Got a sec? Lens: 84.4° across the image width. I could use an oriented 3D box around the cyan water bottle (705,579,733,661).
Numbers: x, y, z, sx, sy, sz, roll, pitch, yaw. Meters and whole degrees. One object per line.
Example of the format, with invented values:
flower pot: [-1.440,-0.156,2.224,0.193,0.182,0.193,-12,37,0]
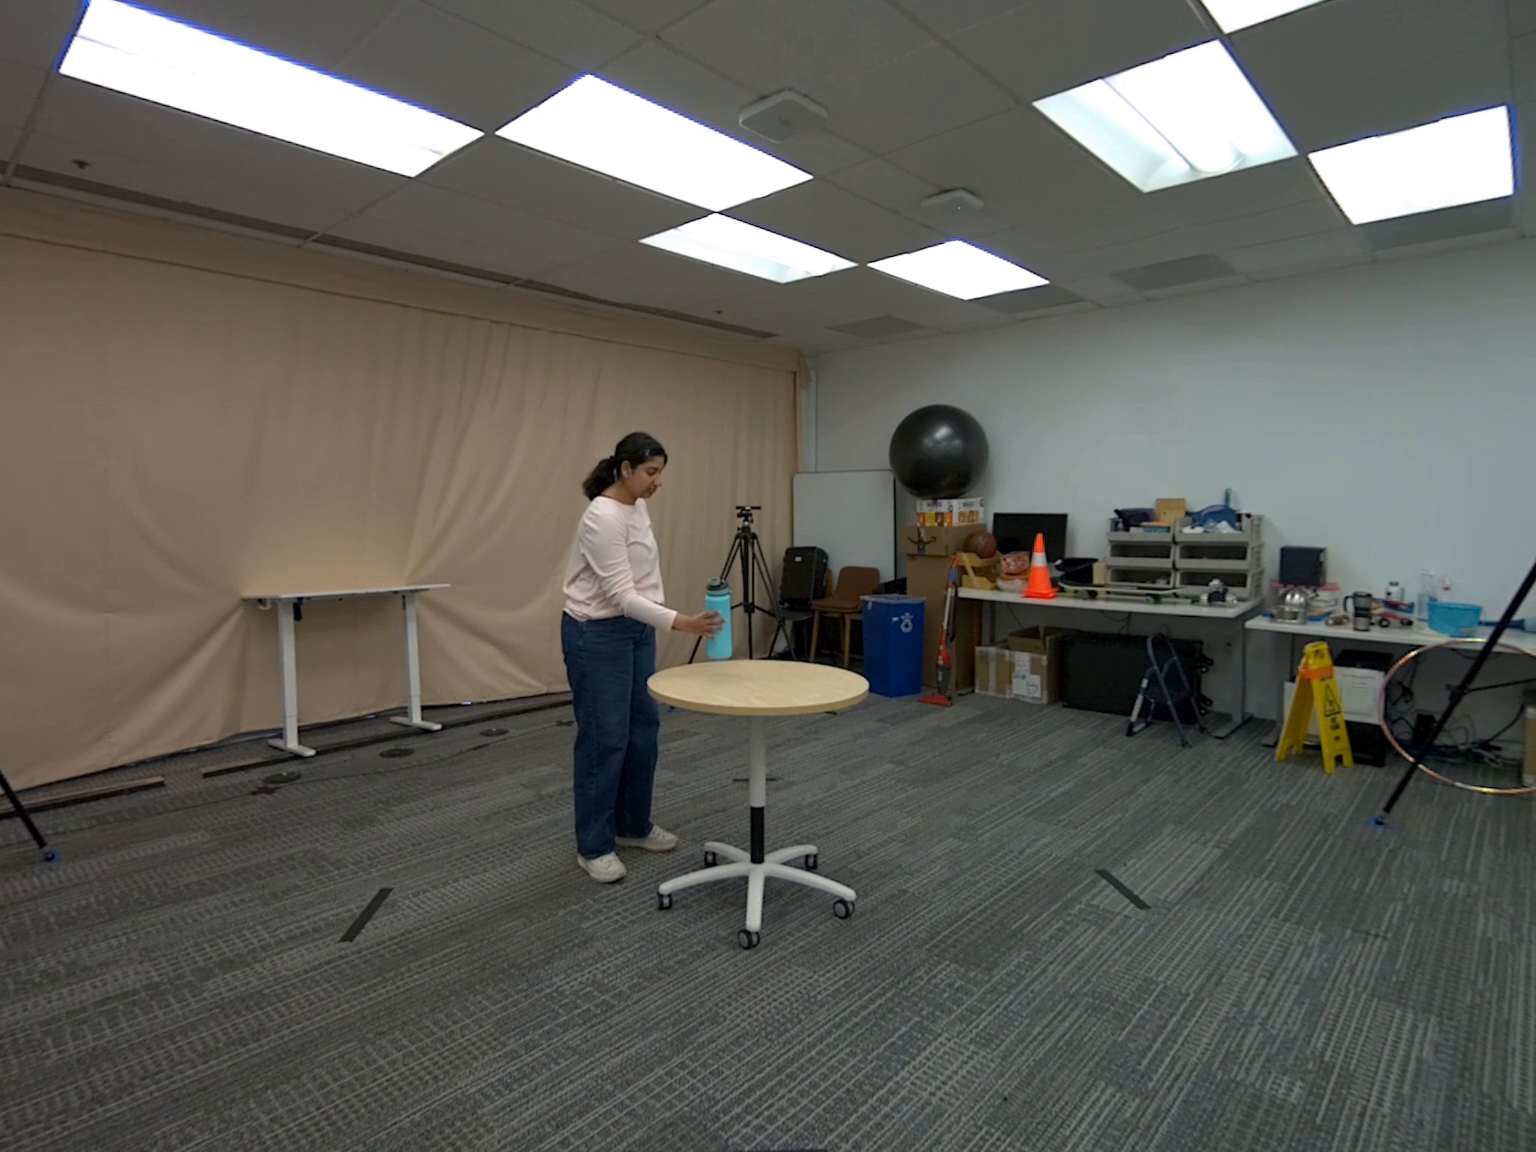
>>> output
cyan water bottle: [-0.172,0.146,2.984,0.092,0.282,0.093,-1,8,-2]
